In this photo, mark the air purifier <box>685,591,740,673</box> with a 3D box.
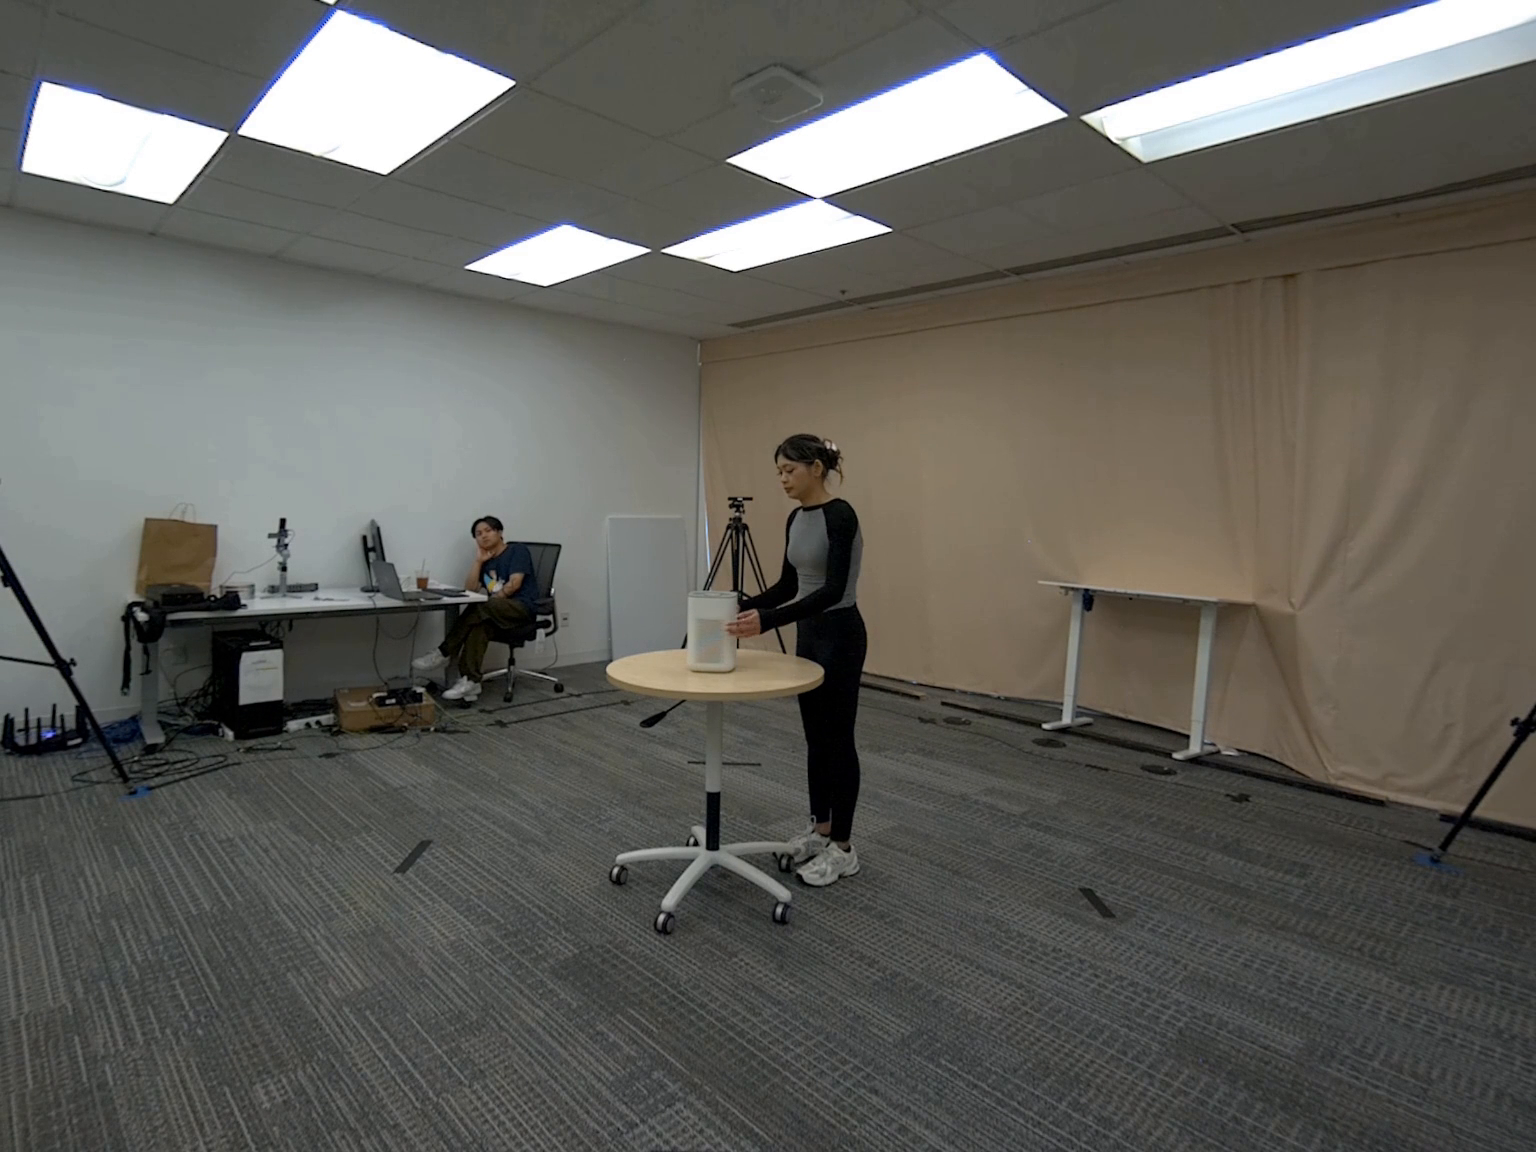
[{"bbox_3d":[-0.202,0.199,2.940,0.172,0.264,0.171,2,6,1],"label":"air purifier"}]
